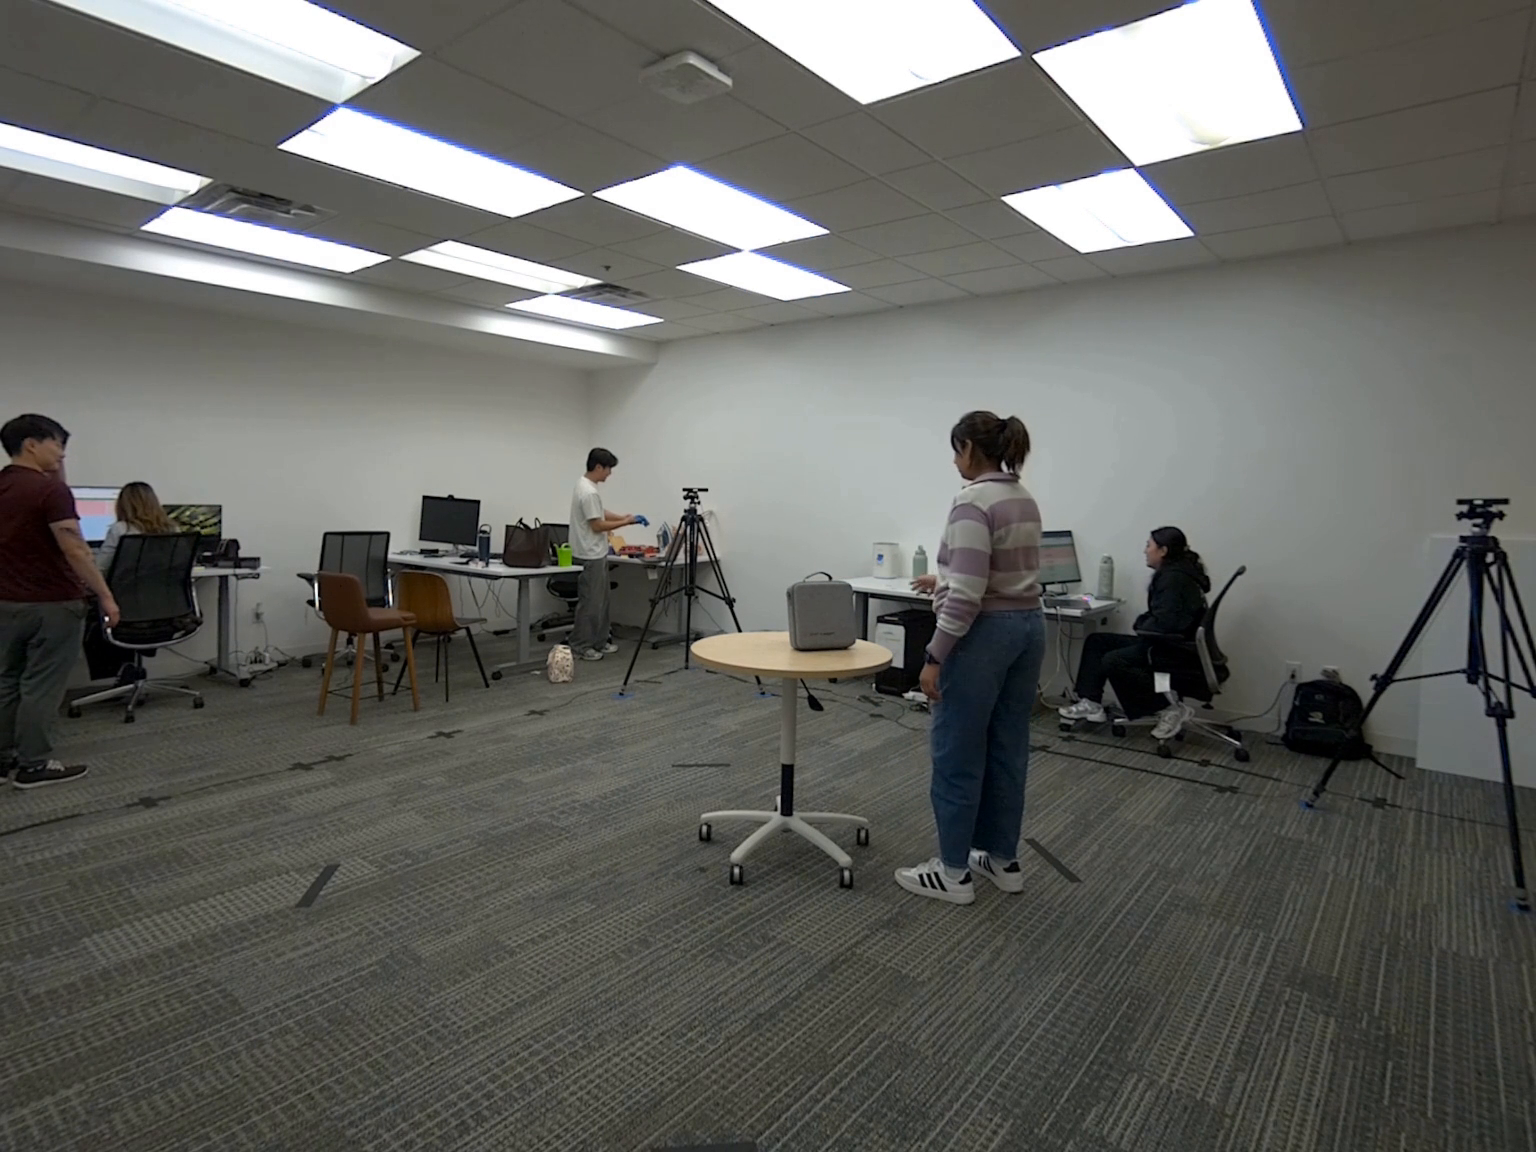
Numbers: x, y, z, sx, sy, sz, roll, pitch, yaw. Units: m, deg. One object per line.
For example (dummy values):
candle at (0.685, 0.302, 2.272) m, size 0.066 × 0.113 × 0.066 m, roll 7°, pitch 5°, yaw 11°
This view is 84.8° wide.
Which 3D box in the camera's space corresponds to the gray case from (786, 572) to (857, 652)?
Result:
gray case at (0.199, 0.148, 3.283) m, size 0.252 × 0.262 × 0.106 m, roll 1°, pitch -6°, yaw -19°
